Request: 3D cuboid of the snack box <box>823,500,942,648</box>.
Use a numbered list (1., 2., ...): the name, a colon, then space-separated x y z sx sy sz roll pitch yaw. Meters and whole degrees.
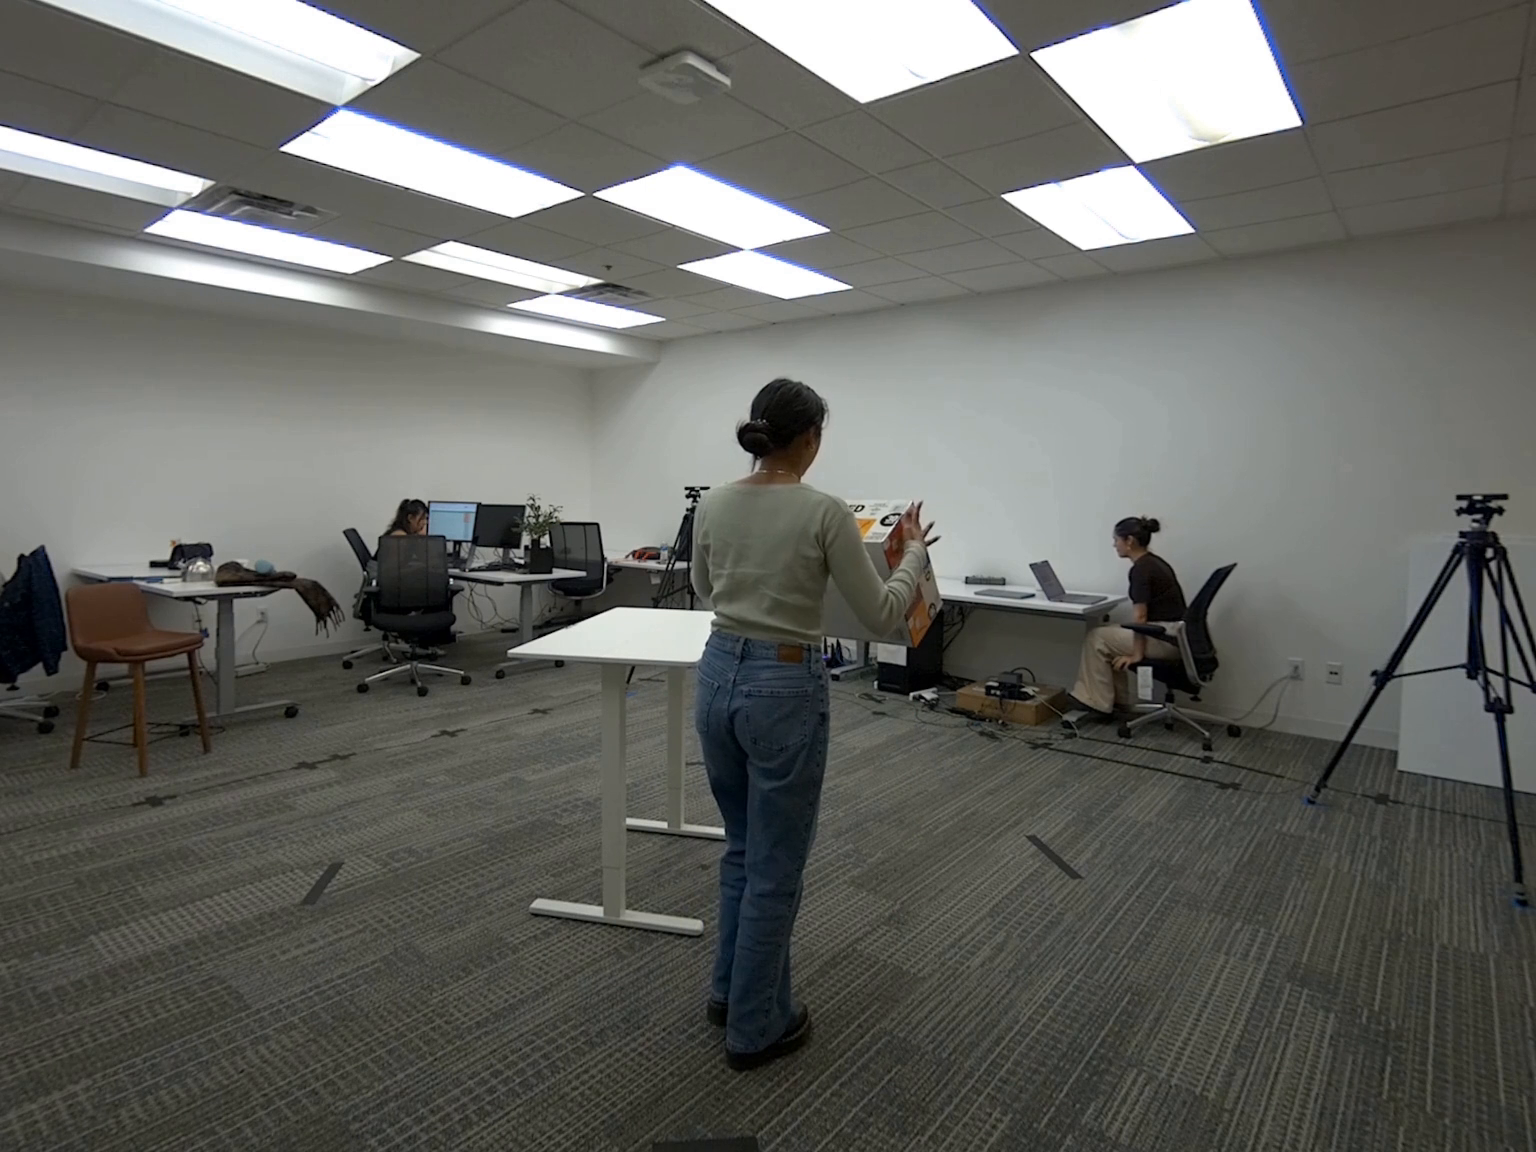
1. snack box: 0.218 -0.019 2.376 0.418 0.330 0.205 3 34 38
